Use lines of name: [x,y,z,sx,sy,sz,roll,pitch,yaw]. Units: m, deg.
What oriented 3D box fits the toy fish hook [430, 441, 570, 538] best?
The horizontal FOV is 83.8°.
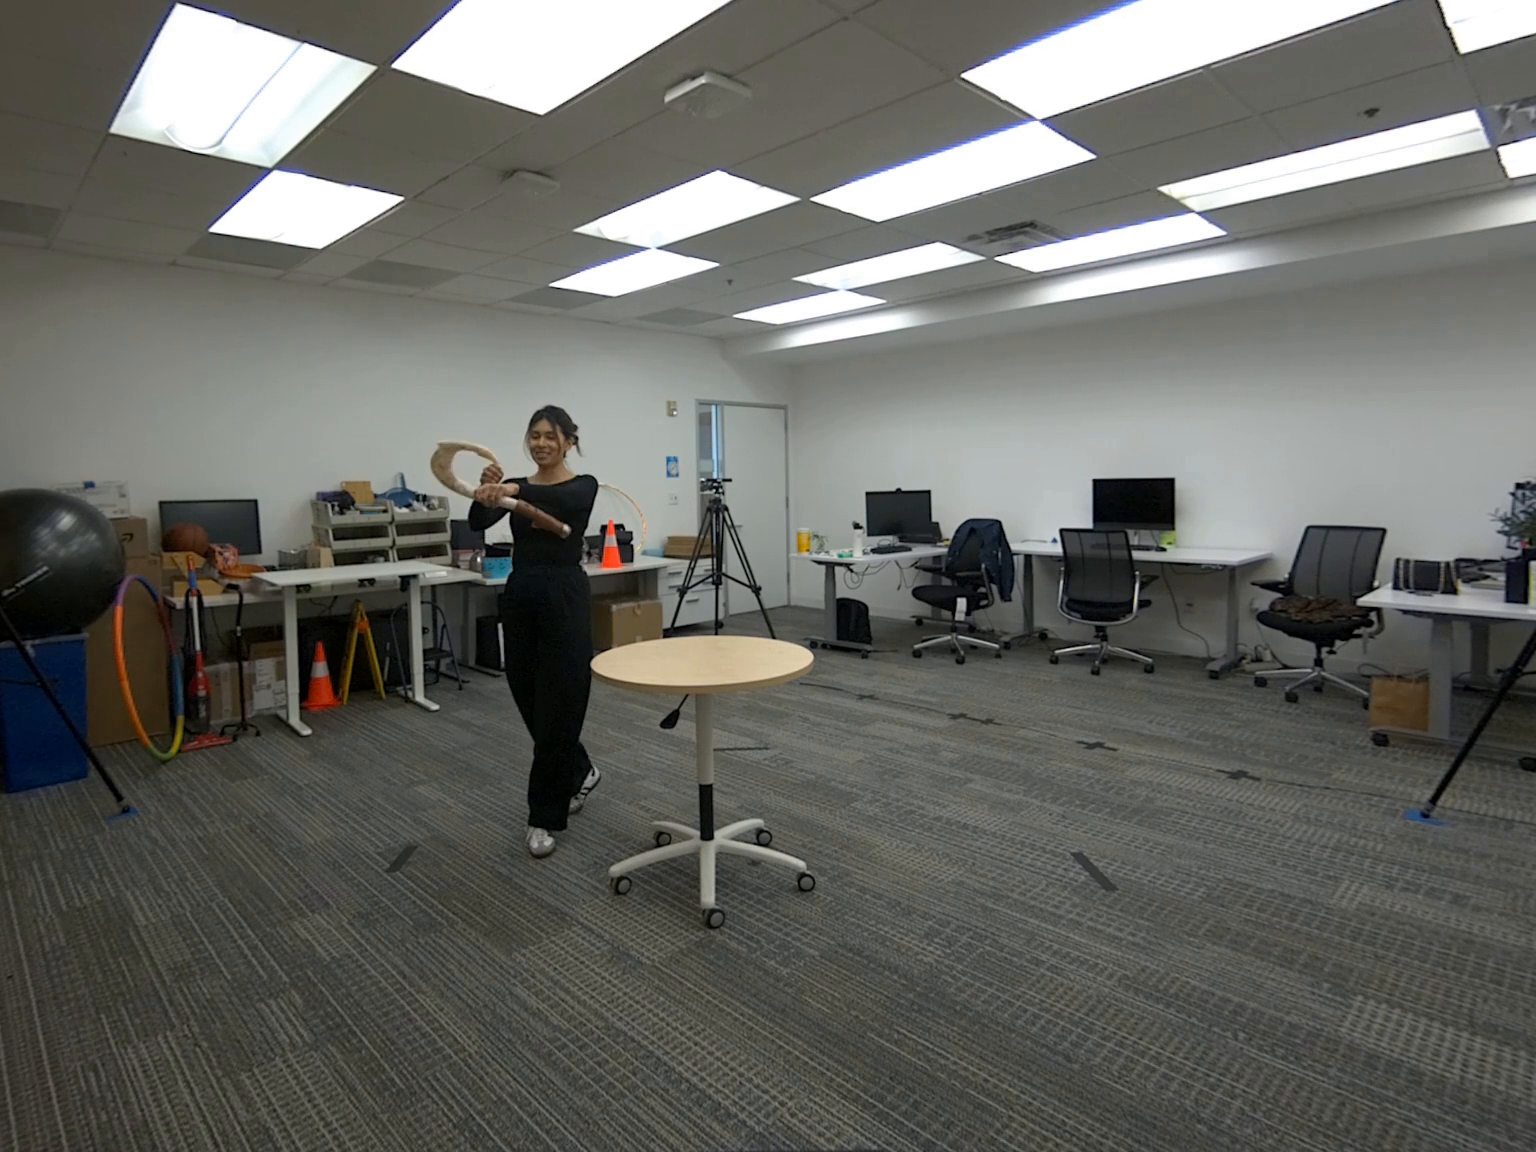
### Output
toy fish hook: [-0.859,-0.280,2.801,0.497,0.049,0.224,29,-49,-15]
